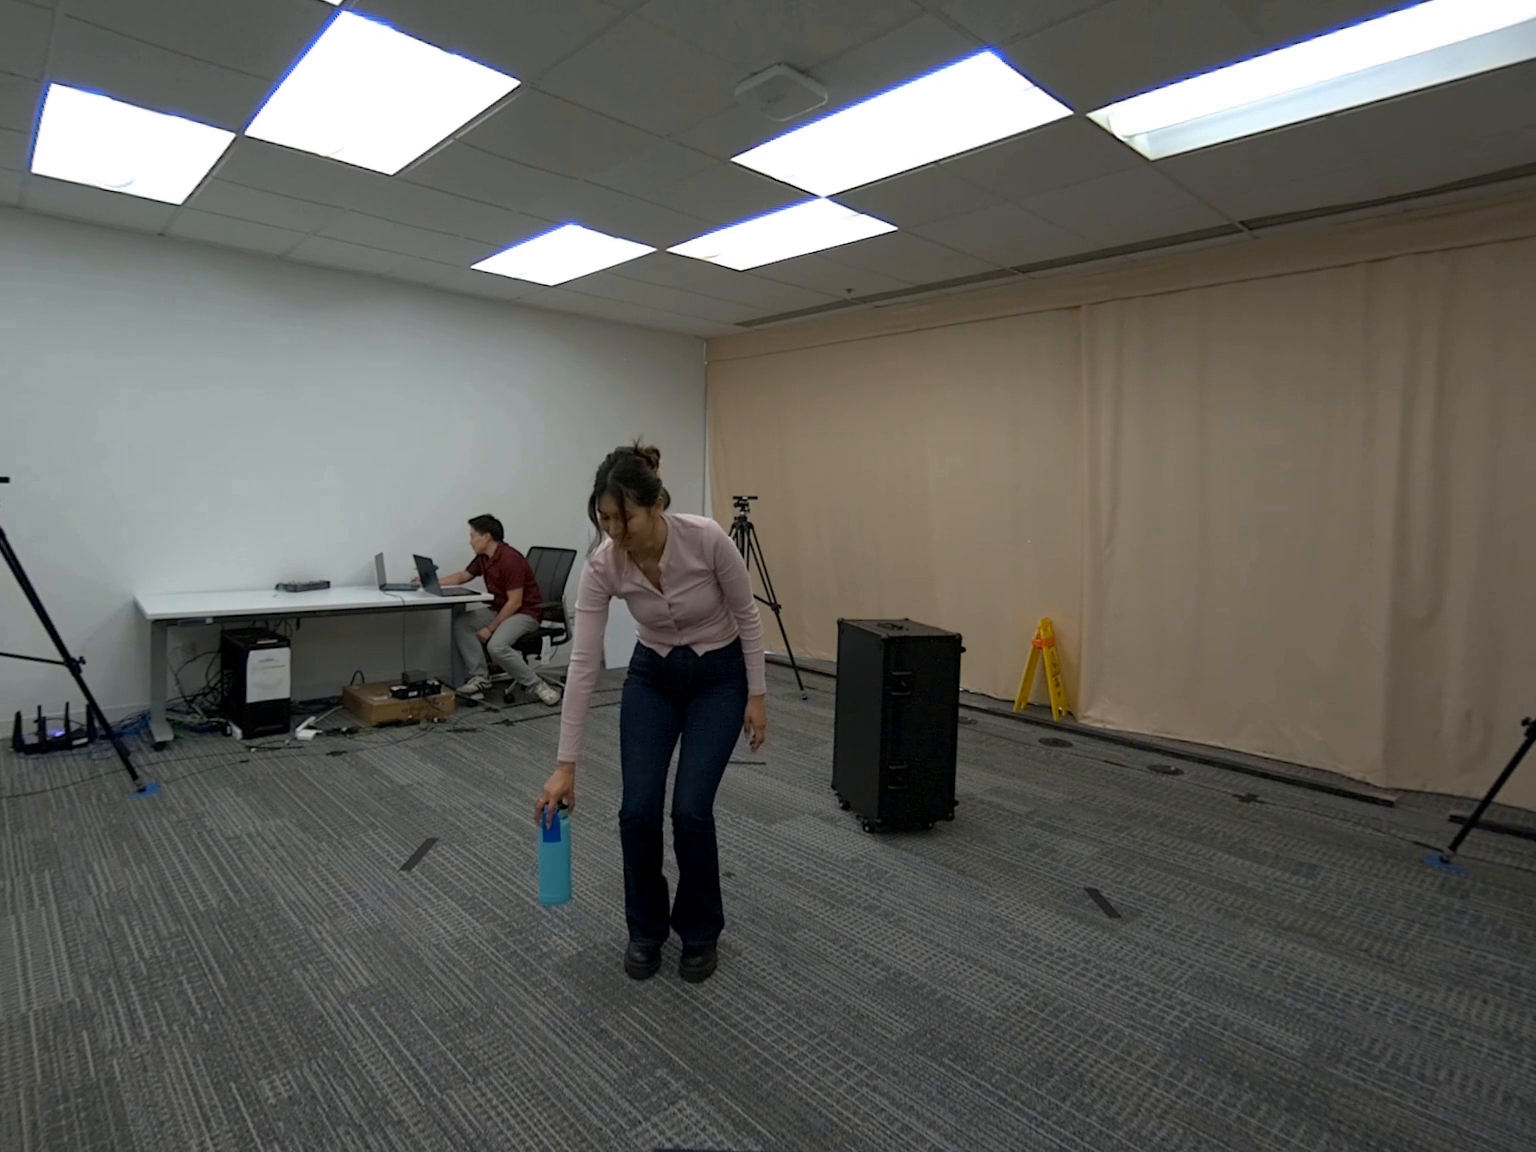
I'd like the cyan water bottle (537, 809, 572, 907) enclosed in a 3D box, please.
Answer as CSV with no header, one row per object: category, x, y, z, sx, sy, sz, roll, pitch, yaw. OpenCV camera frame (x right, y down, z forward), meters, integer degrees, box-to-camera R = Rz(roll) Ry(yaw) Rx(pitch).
cyan water bottle,-0.583,0.745,2.277,0.092,0.283,0.092,0,3,-1
